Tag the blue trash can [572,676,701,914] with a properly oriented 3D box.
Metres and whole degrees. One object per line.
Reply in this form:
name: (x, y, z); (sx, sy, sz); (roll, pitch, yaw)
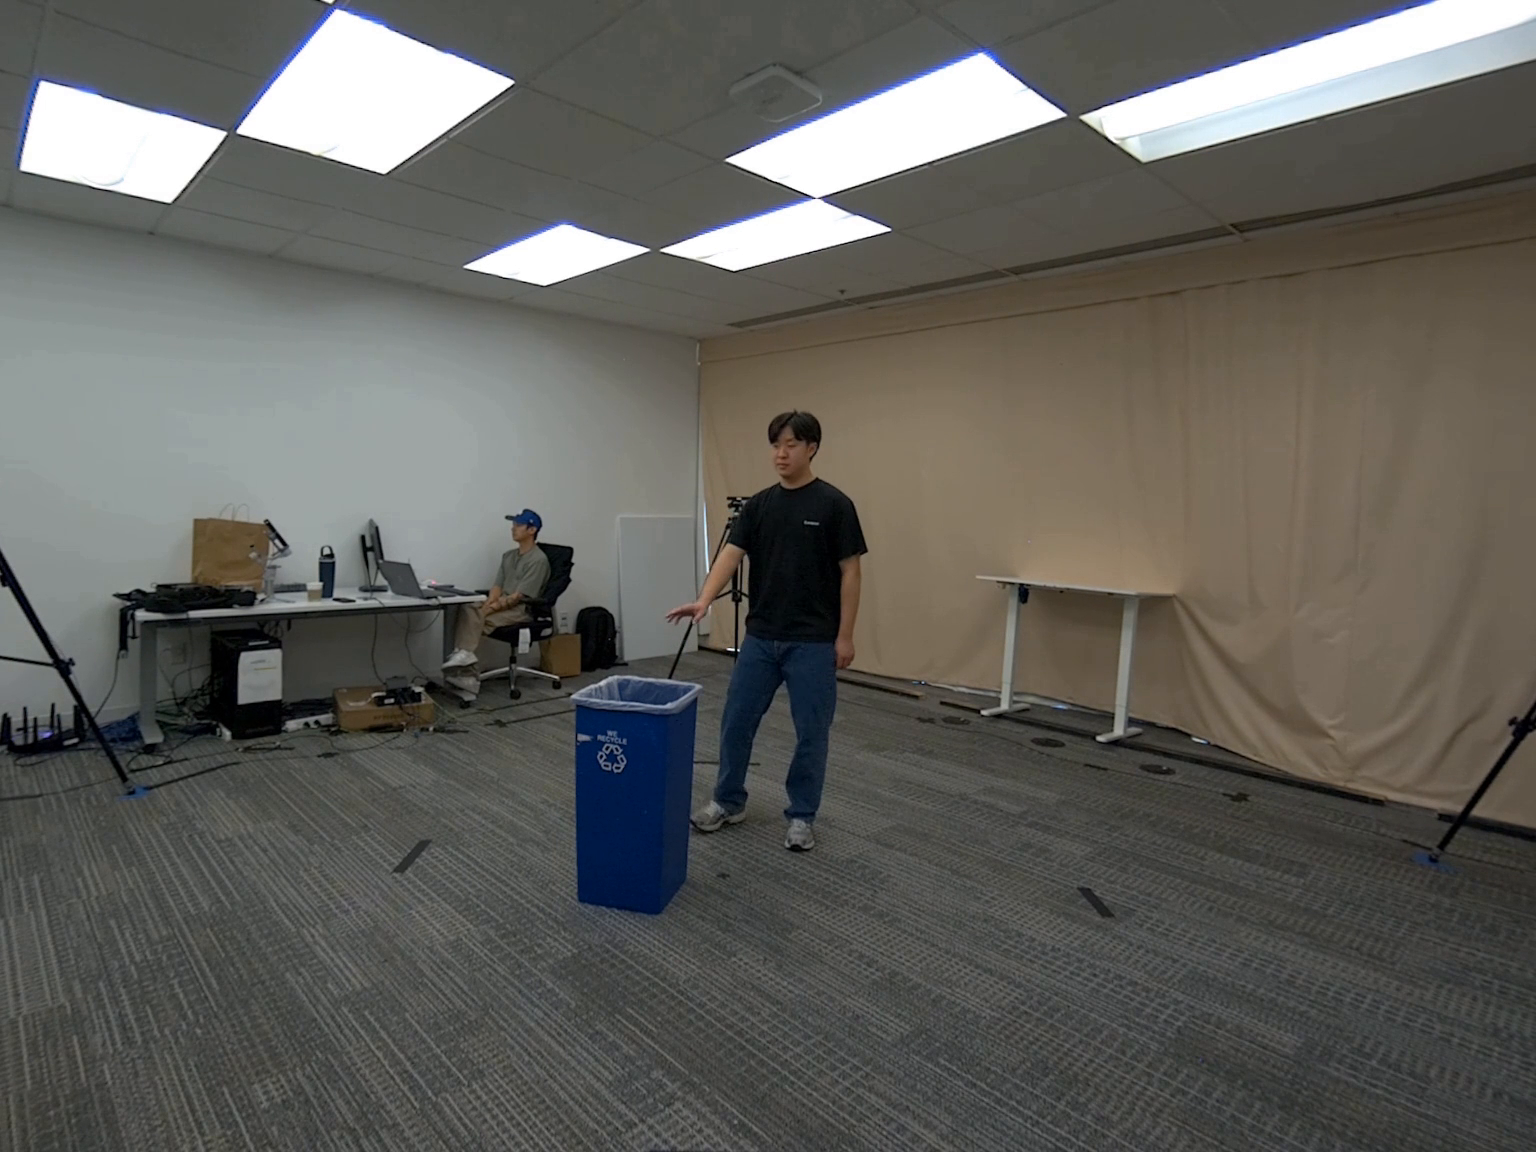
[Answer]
blue trash can: (-0.473, 0.755, 2.955); (0.379, 0.712, 0.374); (4, 4, 14)
